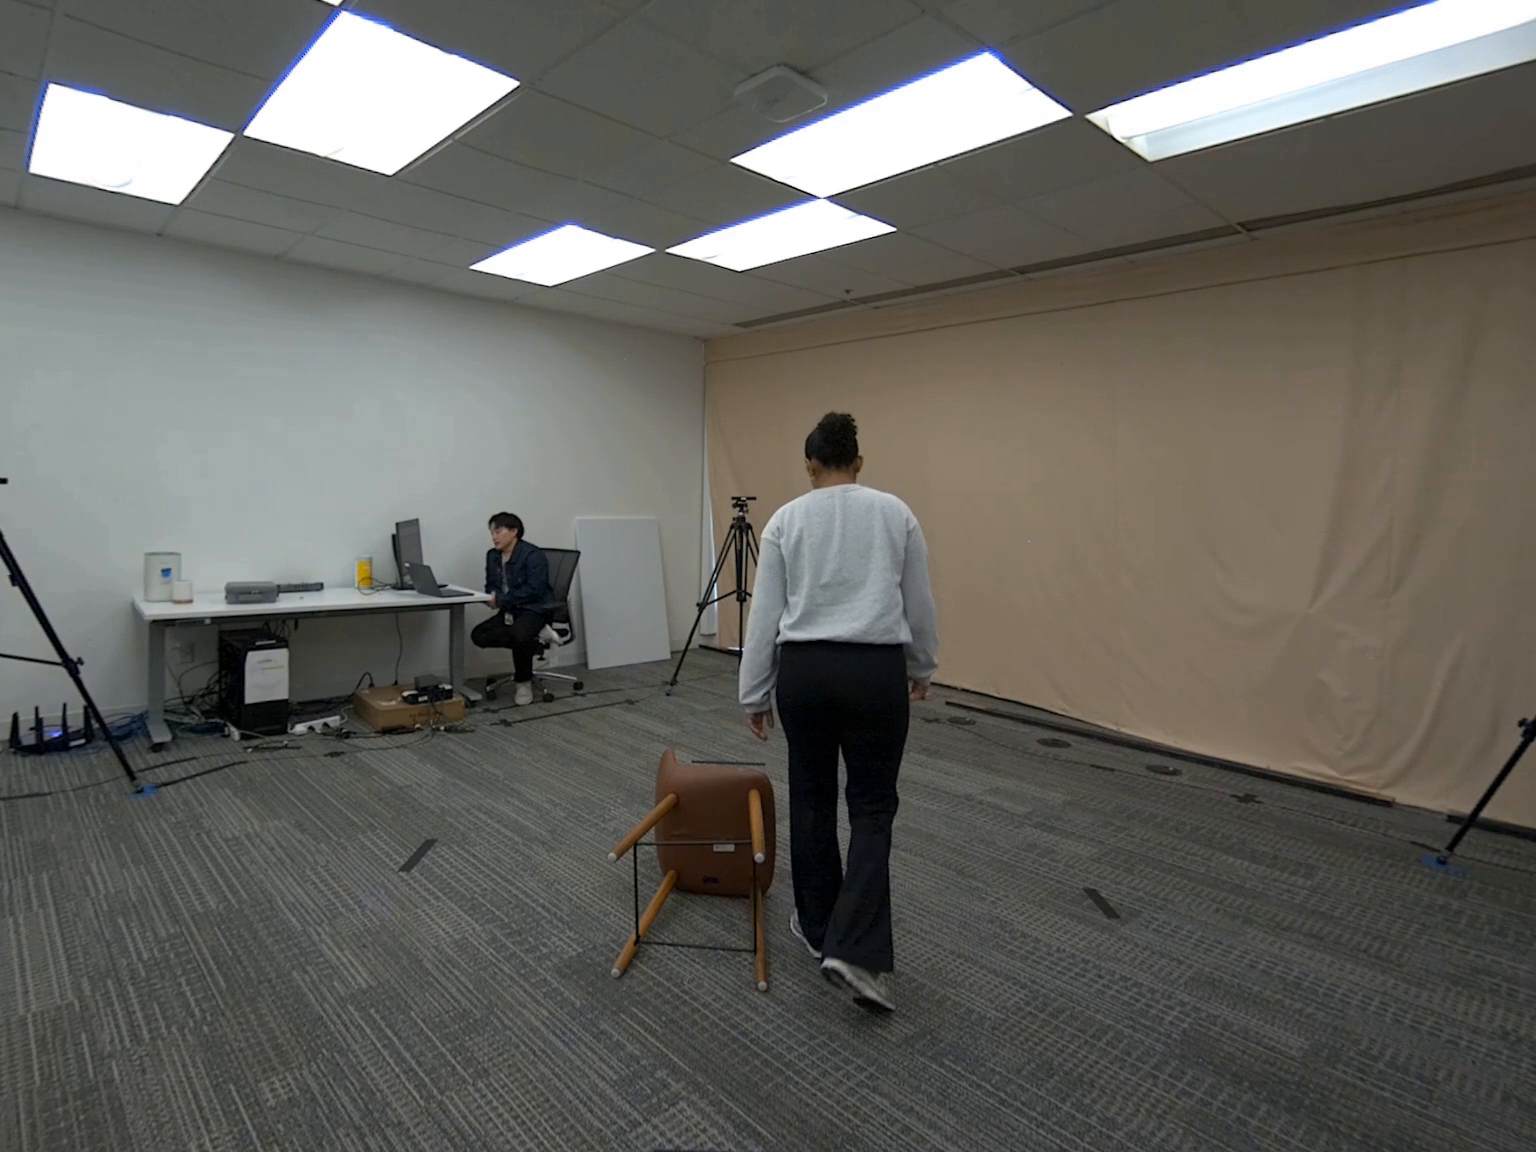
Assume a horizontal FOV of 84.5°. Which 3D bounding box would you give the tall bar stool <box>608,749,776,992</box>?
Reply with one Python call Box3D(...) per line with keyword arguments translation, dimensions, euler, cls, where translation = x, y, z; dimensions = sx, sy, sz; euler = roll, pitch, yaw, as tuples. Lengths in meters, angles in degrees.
Box3D(translation=(-0.212, 0.919, 2.813), dimensions=(0.469, 0.454, 0.891), euler=(-1, 7, 3), cls="tall bar stool")
